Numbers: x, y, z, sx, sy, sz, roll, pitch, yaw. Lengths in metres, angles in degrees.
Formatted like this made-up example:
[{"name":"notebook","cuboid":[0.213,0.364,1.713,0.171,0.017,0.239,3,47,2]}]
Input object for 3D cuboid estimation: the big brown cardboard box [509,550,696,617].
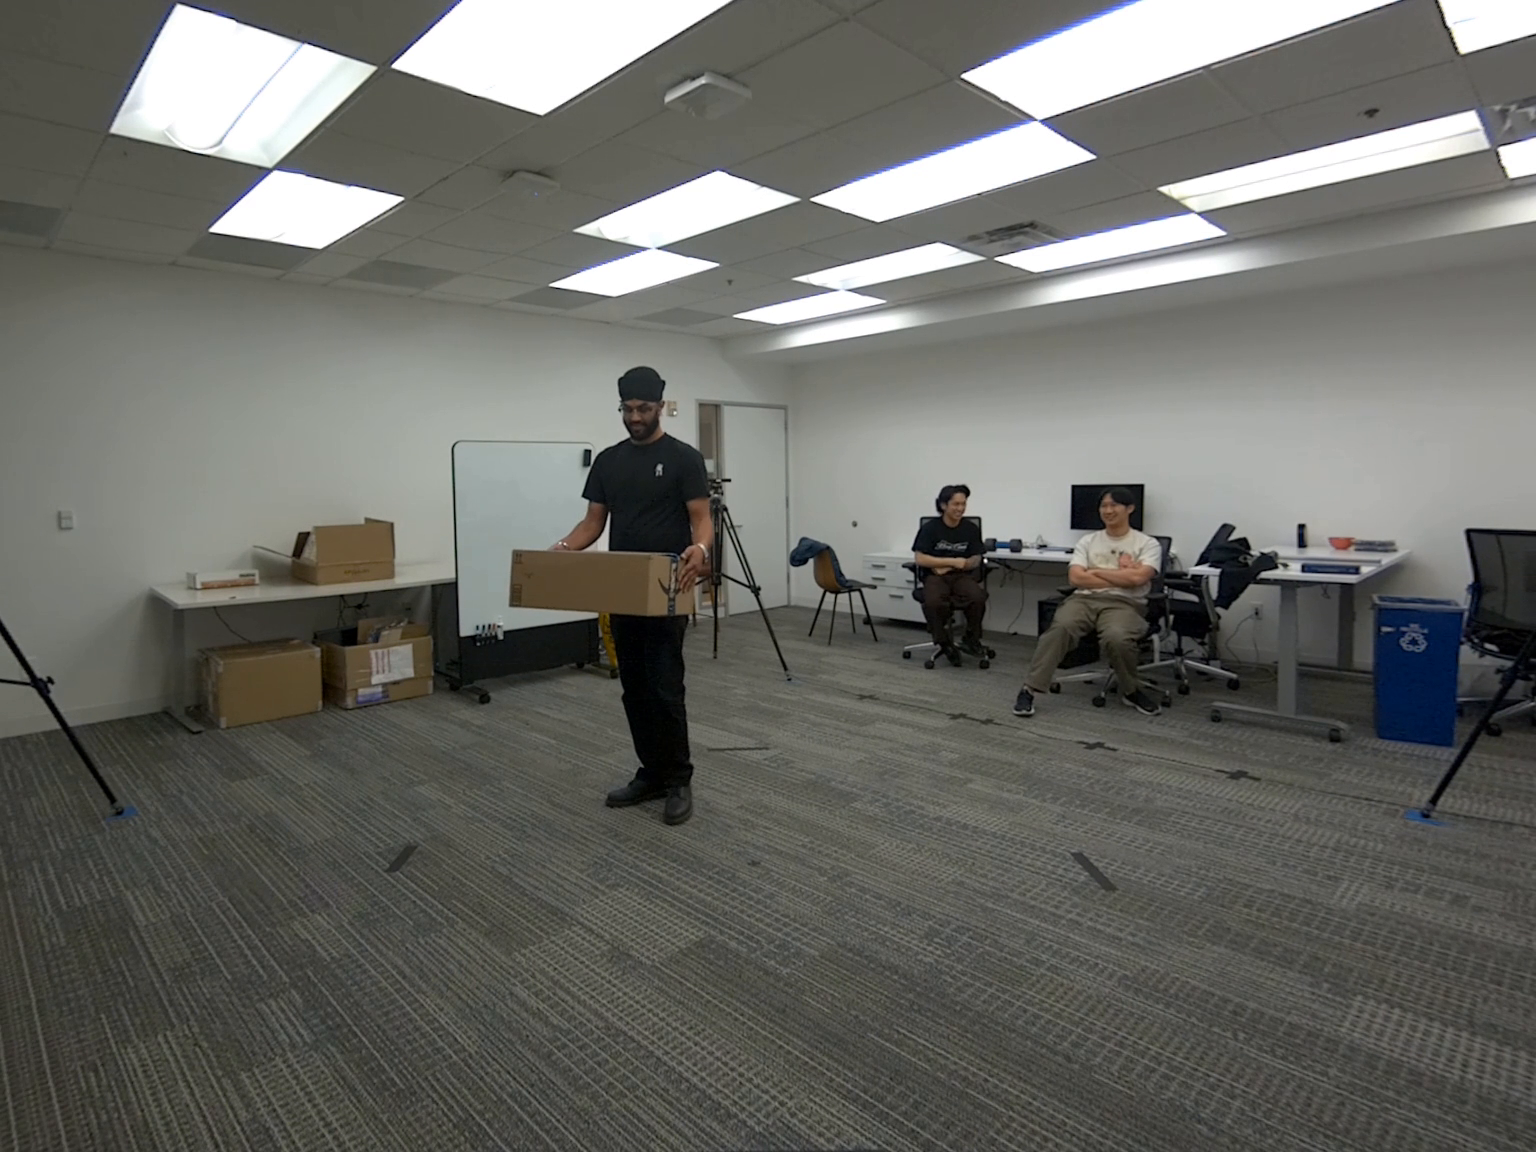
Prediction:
[{"name":"big brown cardboard box","cuboid":[-0.617,0.026,3.238,0.600,0.234,0.409,2,-2,18]}]
